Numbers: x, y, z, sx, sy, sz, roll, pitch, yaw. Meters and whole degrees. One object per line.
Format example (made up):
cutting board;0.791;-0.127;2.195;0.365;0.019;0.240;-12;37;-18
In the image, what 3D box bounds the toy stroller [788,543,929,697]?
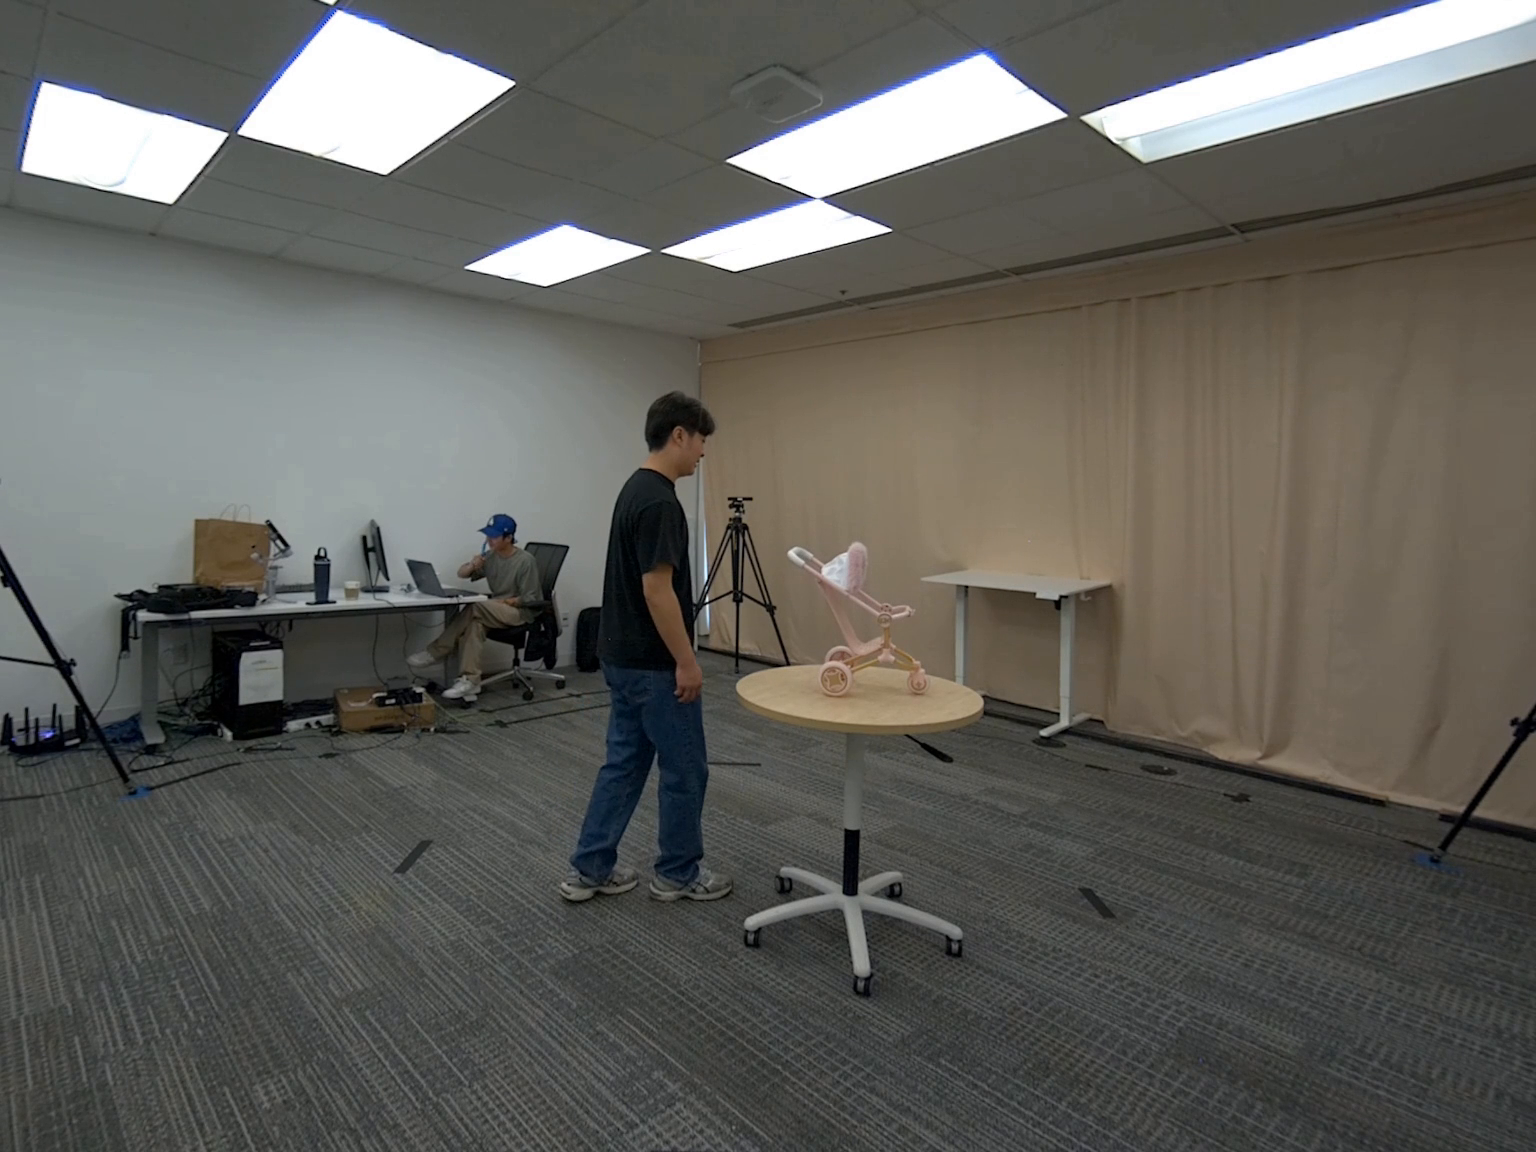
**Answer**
toy stroller;0.288;0.138;2.651;0.345;0.535;0.279;-12;0;16
